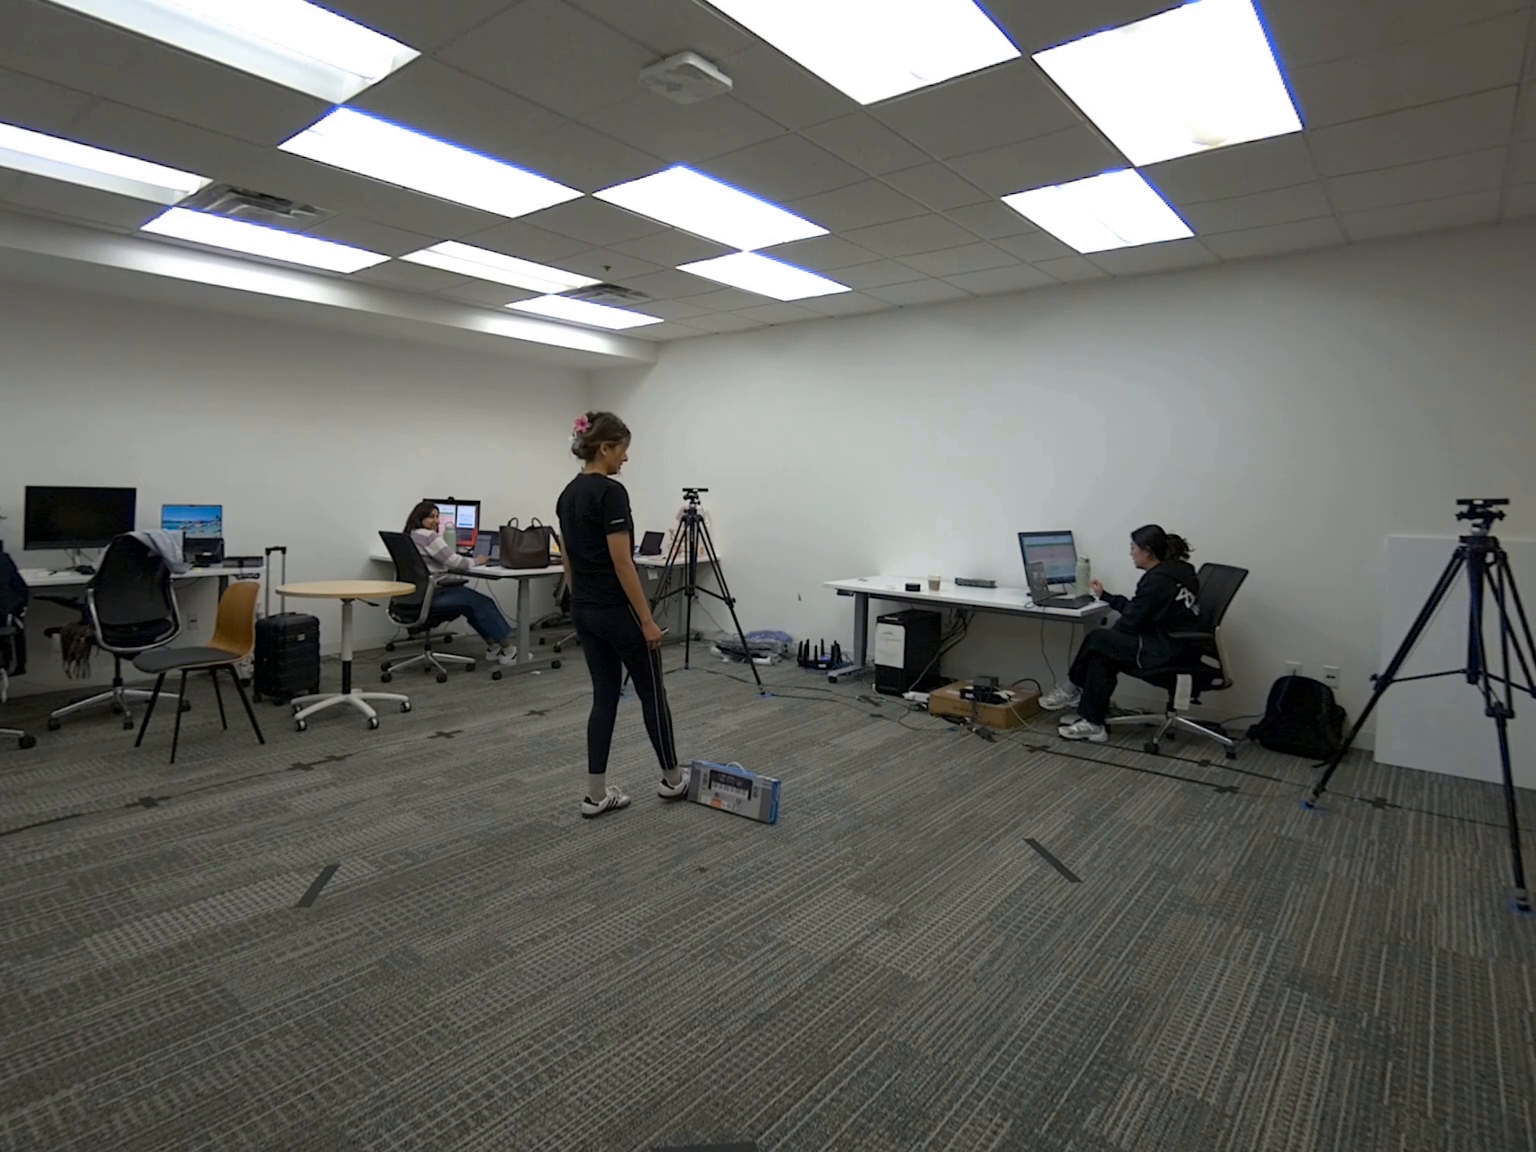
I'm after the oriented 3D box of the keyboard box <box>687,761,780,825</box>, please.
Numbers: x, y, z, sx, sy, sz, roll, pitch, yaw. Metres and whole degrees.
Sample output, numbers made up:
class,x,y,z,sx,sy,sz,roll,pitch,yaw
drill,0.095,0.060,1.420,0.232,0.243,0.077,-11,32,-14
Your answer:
class,x,y,z,sx,sy,sz,roll,pitch,yaw
keyboard box,-0.160,0.928,3.686,0.451,0.176,0.057,5,-4,35
